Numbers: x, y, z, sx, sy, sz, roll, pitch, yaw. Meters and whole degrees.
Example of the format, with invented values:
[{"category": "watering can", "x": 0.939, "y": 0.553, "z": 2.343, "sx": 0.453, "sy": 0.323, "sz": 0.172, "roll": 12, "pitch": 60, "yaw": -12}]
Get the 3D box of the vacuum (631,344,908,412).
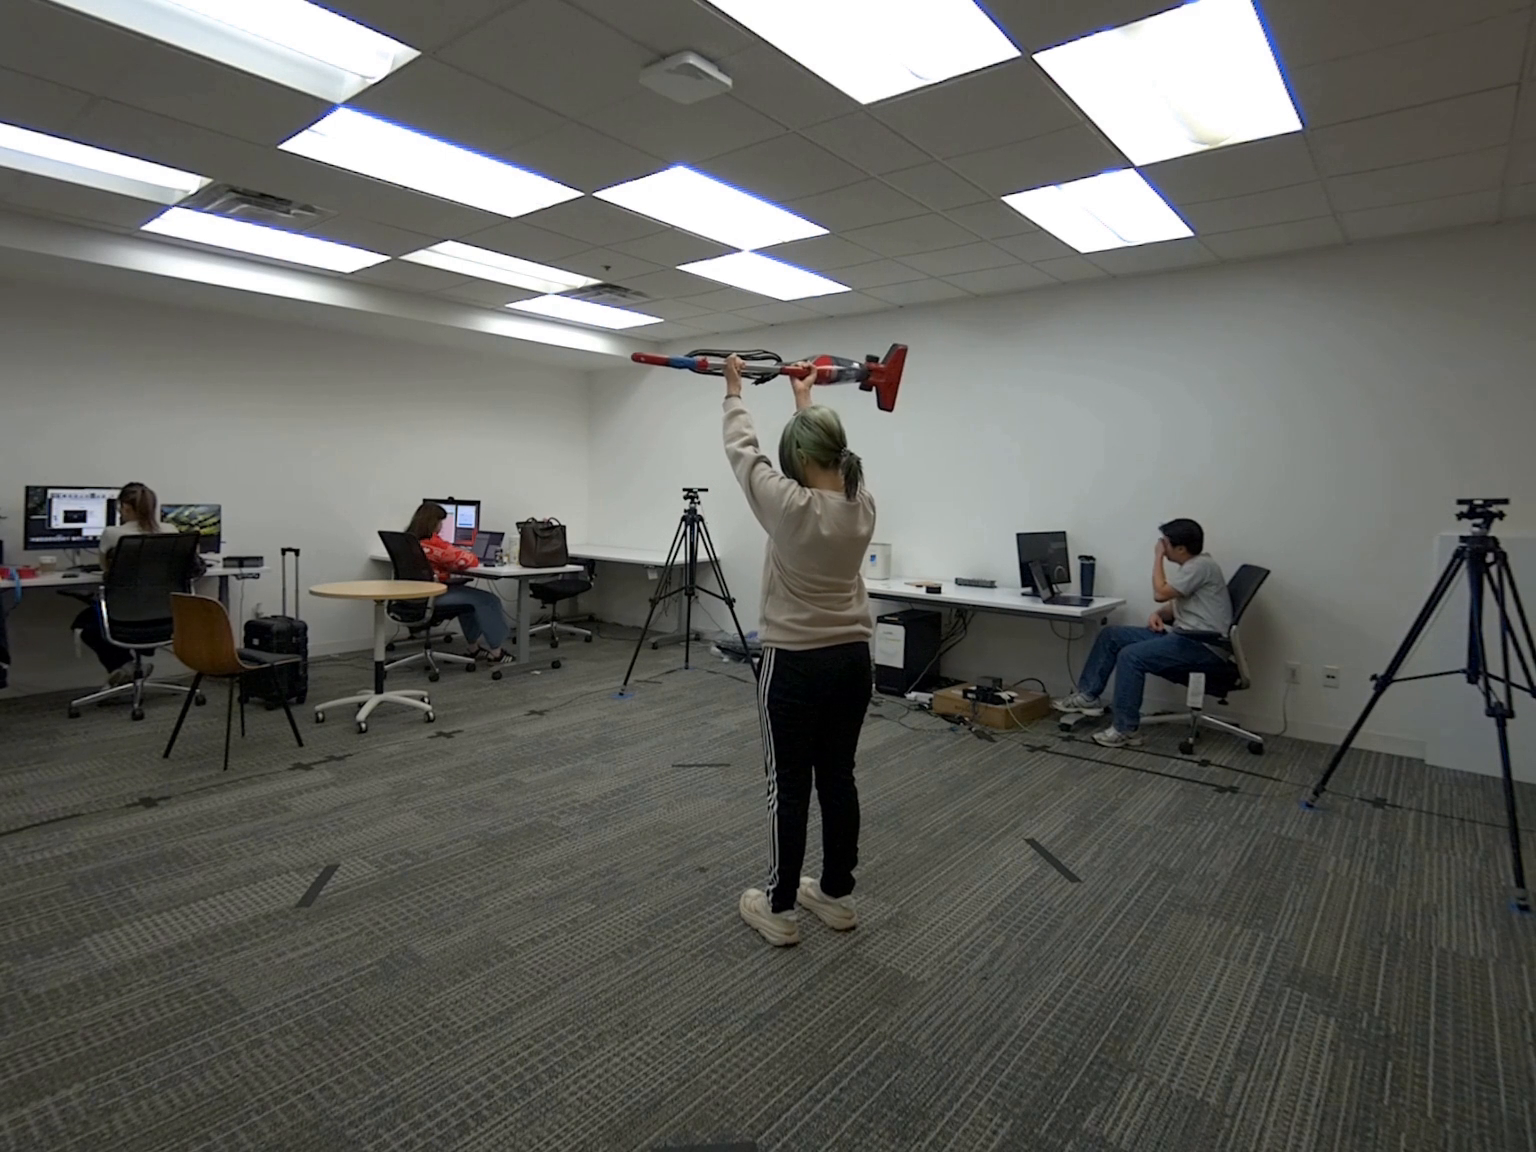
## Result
[{"category": "vacuum", "x": 0.009, "y": -0.719, "z": 2.921, "sx": 1.021, "sy": 0.249, "sz": 0.150, "roll": -4, "pitch": 24, "yaw": -32}]
